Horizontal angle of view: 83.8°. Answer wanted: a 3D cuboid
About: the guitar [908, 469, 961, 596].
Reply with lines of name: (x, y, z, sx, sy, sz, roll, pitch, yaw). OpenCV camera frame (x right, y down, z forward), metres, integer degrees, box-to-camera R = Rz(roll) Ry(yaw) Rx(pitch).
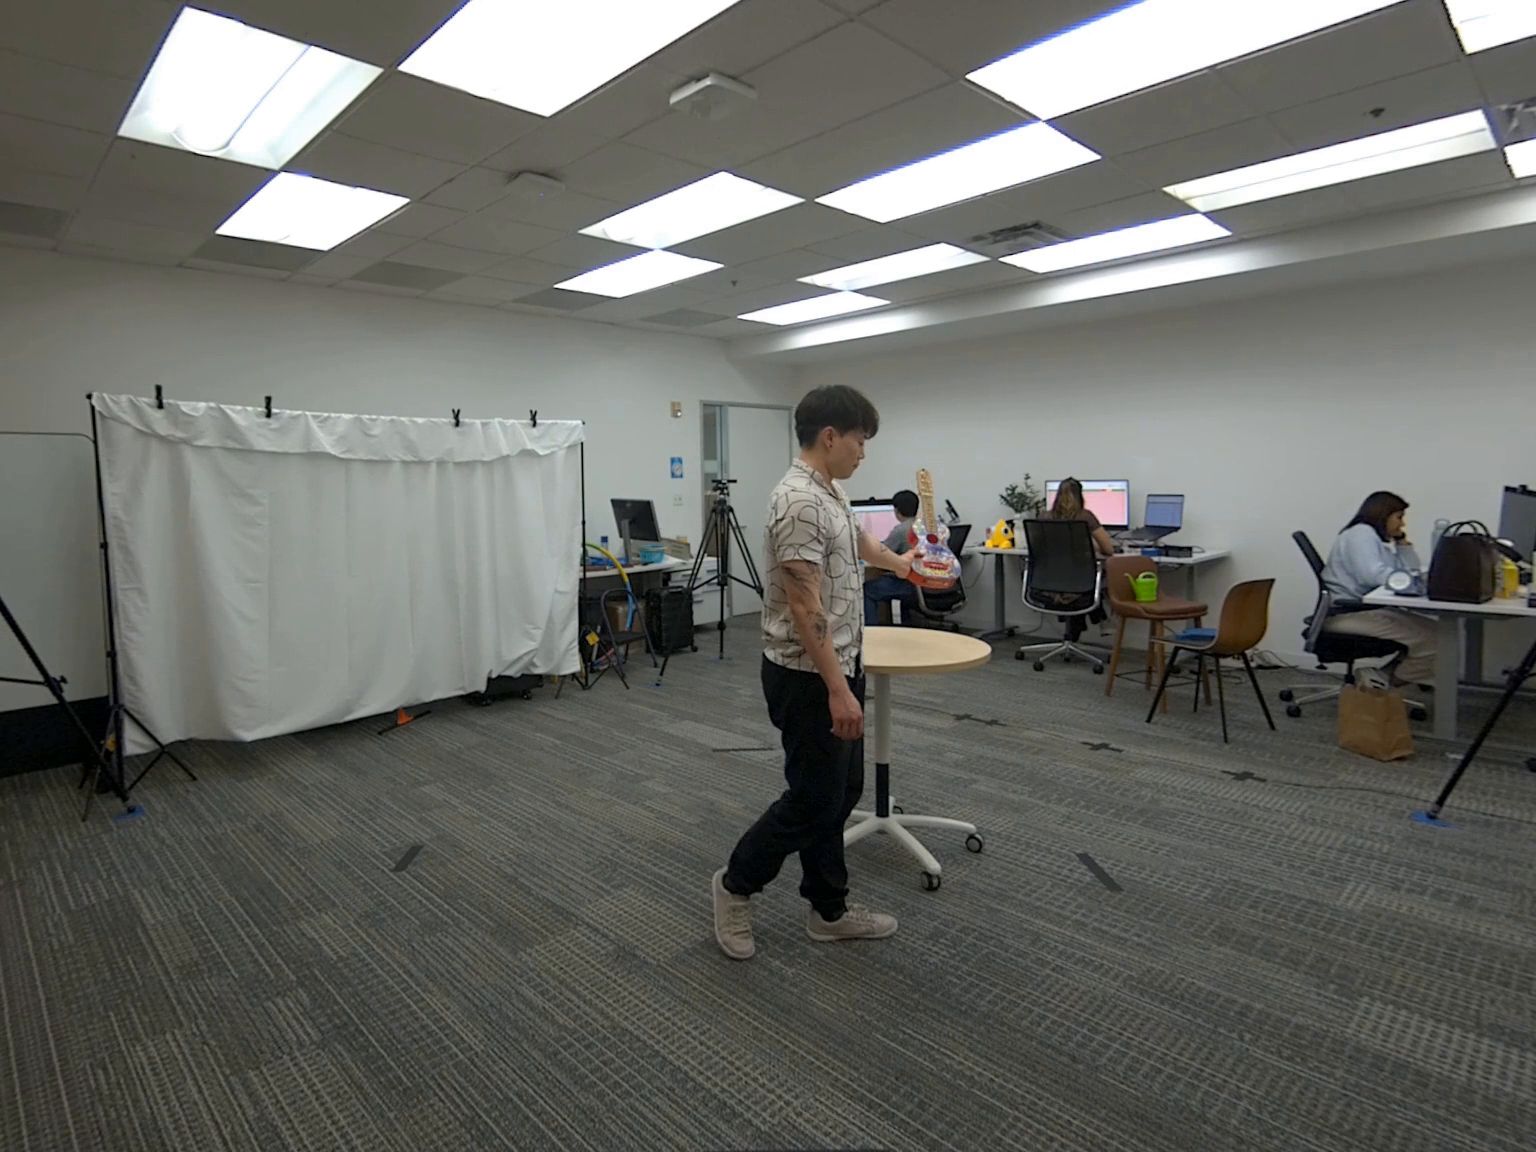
guitar: (0.625, -0.175, 3.192, 0.192, 0.507, 0.069, 13, -35, -3)
